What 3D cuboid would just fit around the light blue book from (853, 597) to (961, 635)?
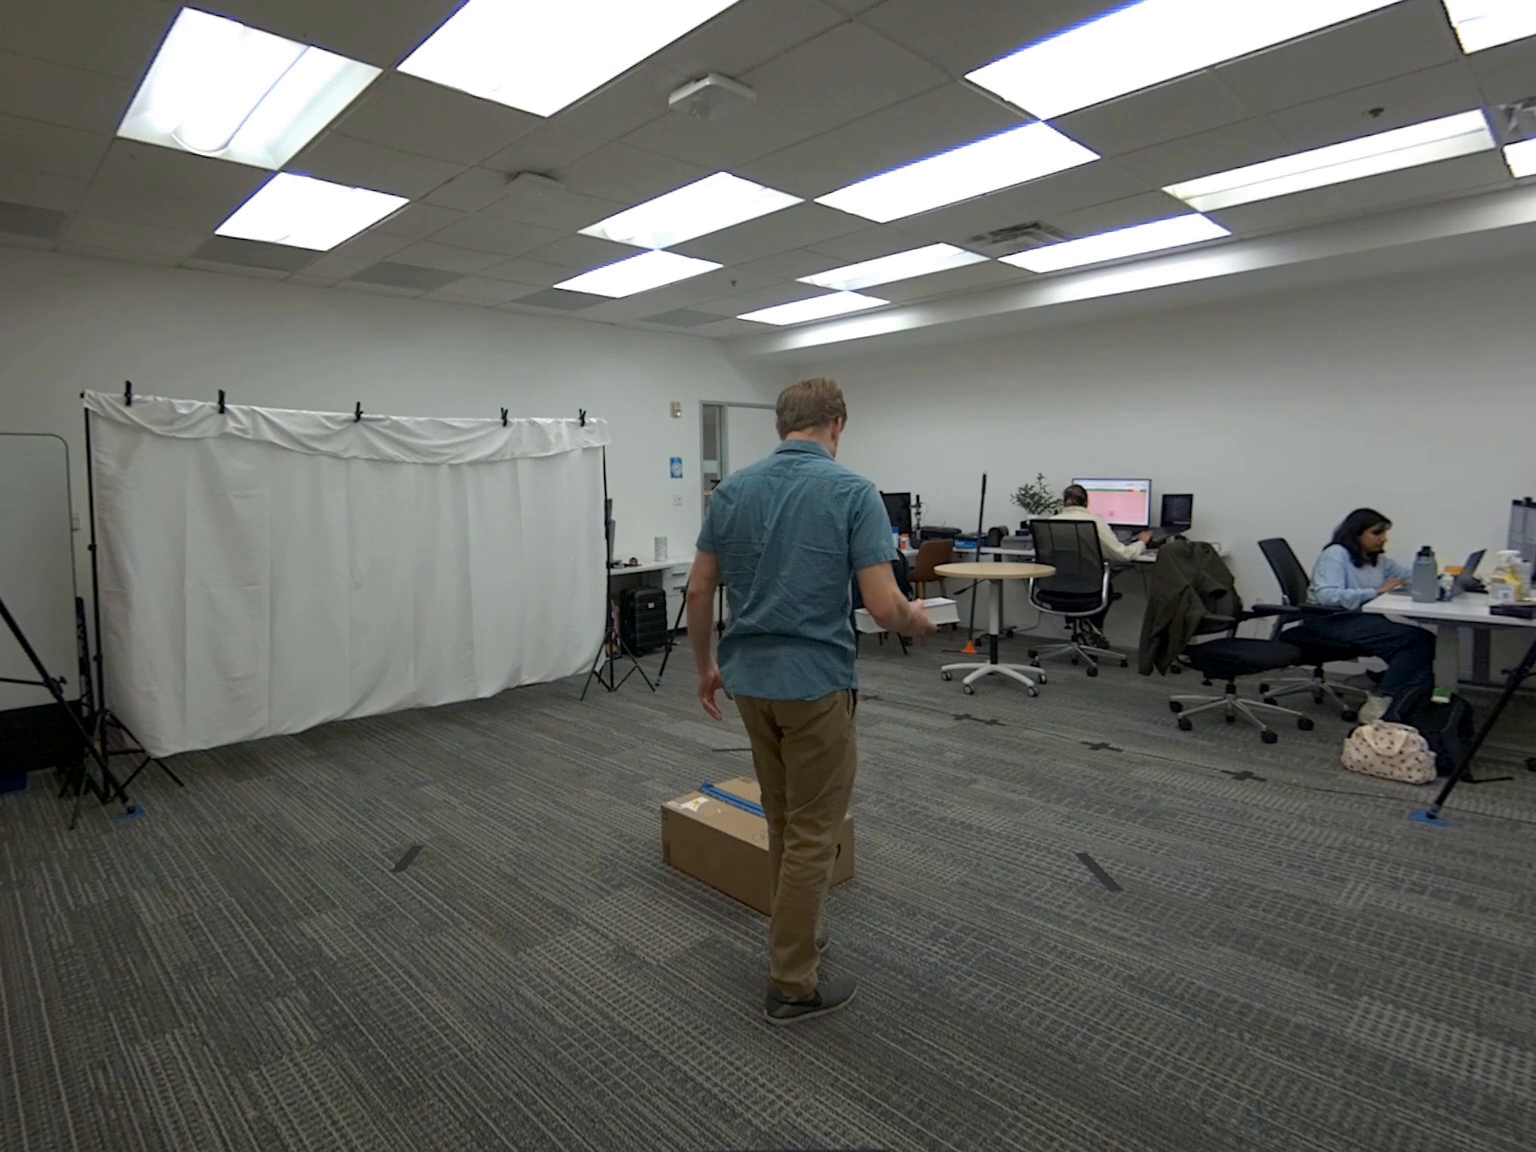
[{"bbox_3d":[0.405,0.115,2.454,0.260,0.059,0.192,-8,2,-4],"label":"light blue book"}]
